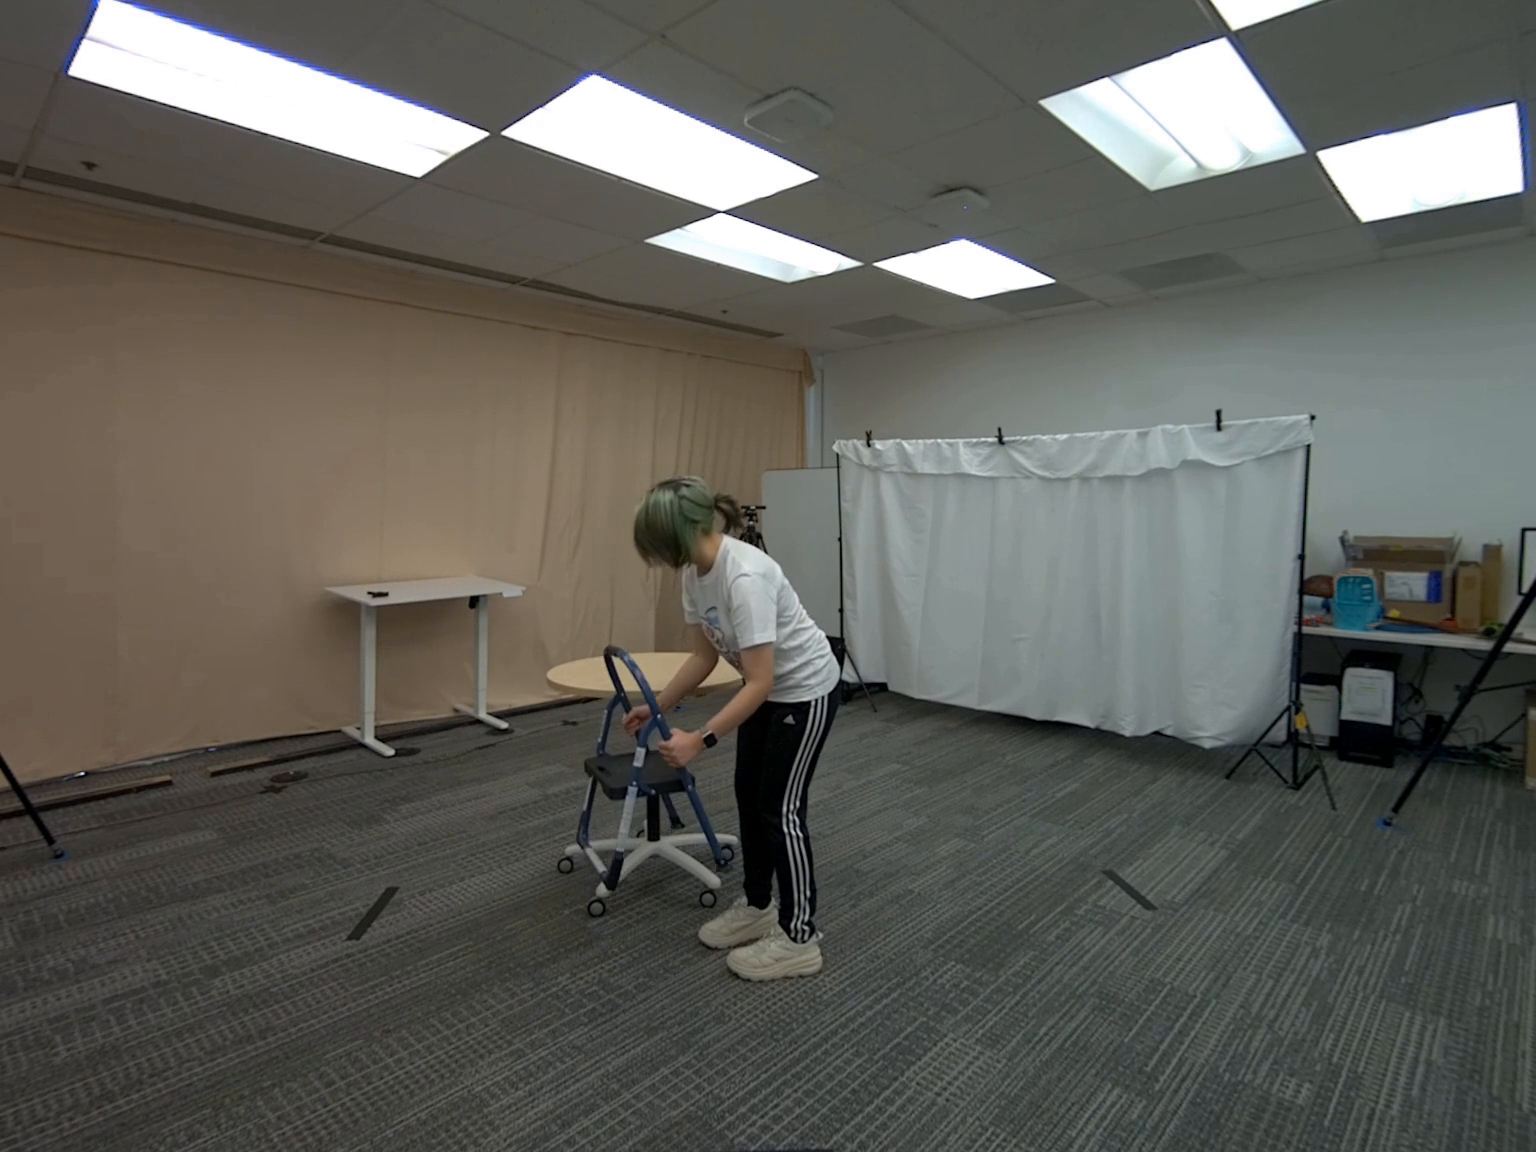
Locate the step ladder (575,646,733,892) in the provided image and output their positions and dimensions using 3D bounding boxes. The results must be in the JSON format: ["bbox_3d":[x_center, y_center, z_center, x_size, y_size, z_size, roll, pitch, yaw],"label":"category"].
[{"bbox_3d":[-0.355,0.511,2.432,0.341,0.606,0.440,-3,1,-24],"label":"step ladder"}]
